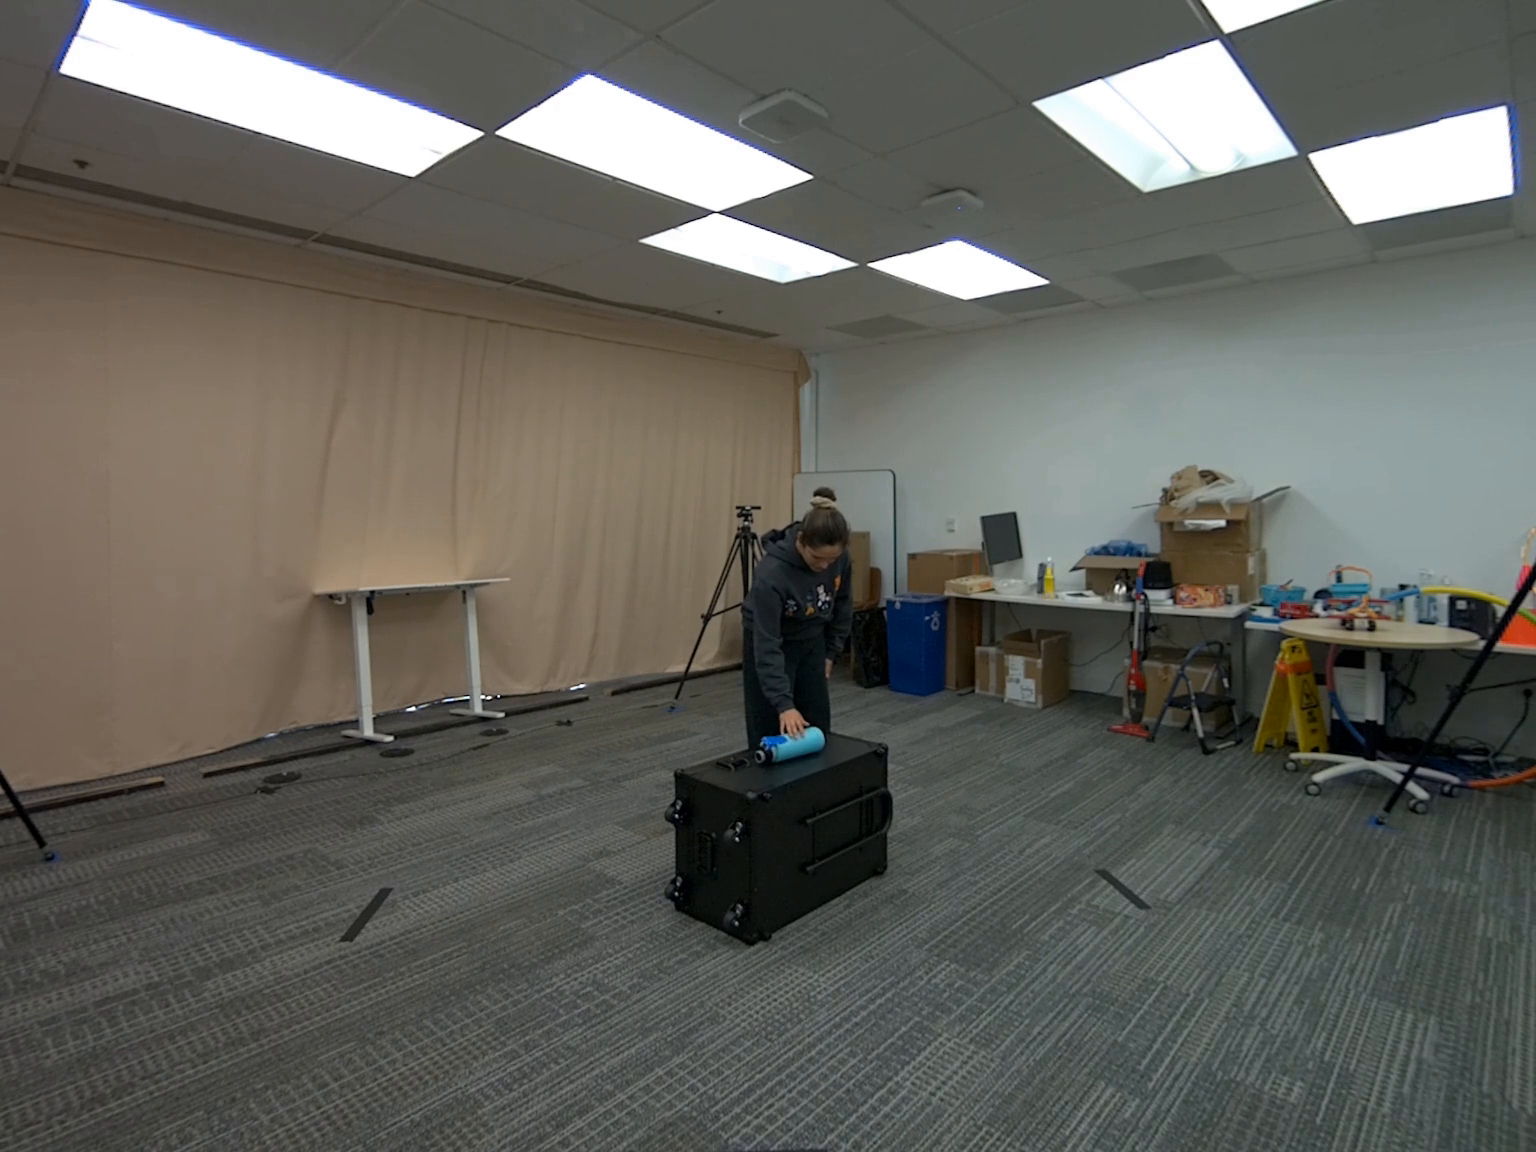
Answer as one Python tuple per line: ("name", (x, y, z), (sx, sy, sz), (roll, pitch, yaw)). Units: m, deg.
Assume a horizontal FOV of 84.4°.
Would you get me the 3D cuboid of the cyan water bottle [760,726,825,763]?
("cyan water bottle", (0.087, 0.601, 3.030), (0.275, 0.092, 0.095), (-4, 5, -40))
